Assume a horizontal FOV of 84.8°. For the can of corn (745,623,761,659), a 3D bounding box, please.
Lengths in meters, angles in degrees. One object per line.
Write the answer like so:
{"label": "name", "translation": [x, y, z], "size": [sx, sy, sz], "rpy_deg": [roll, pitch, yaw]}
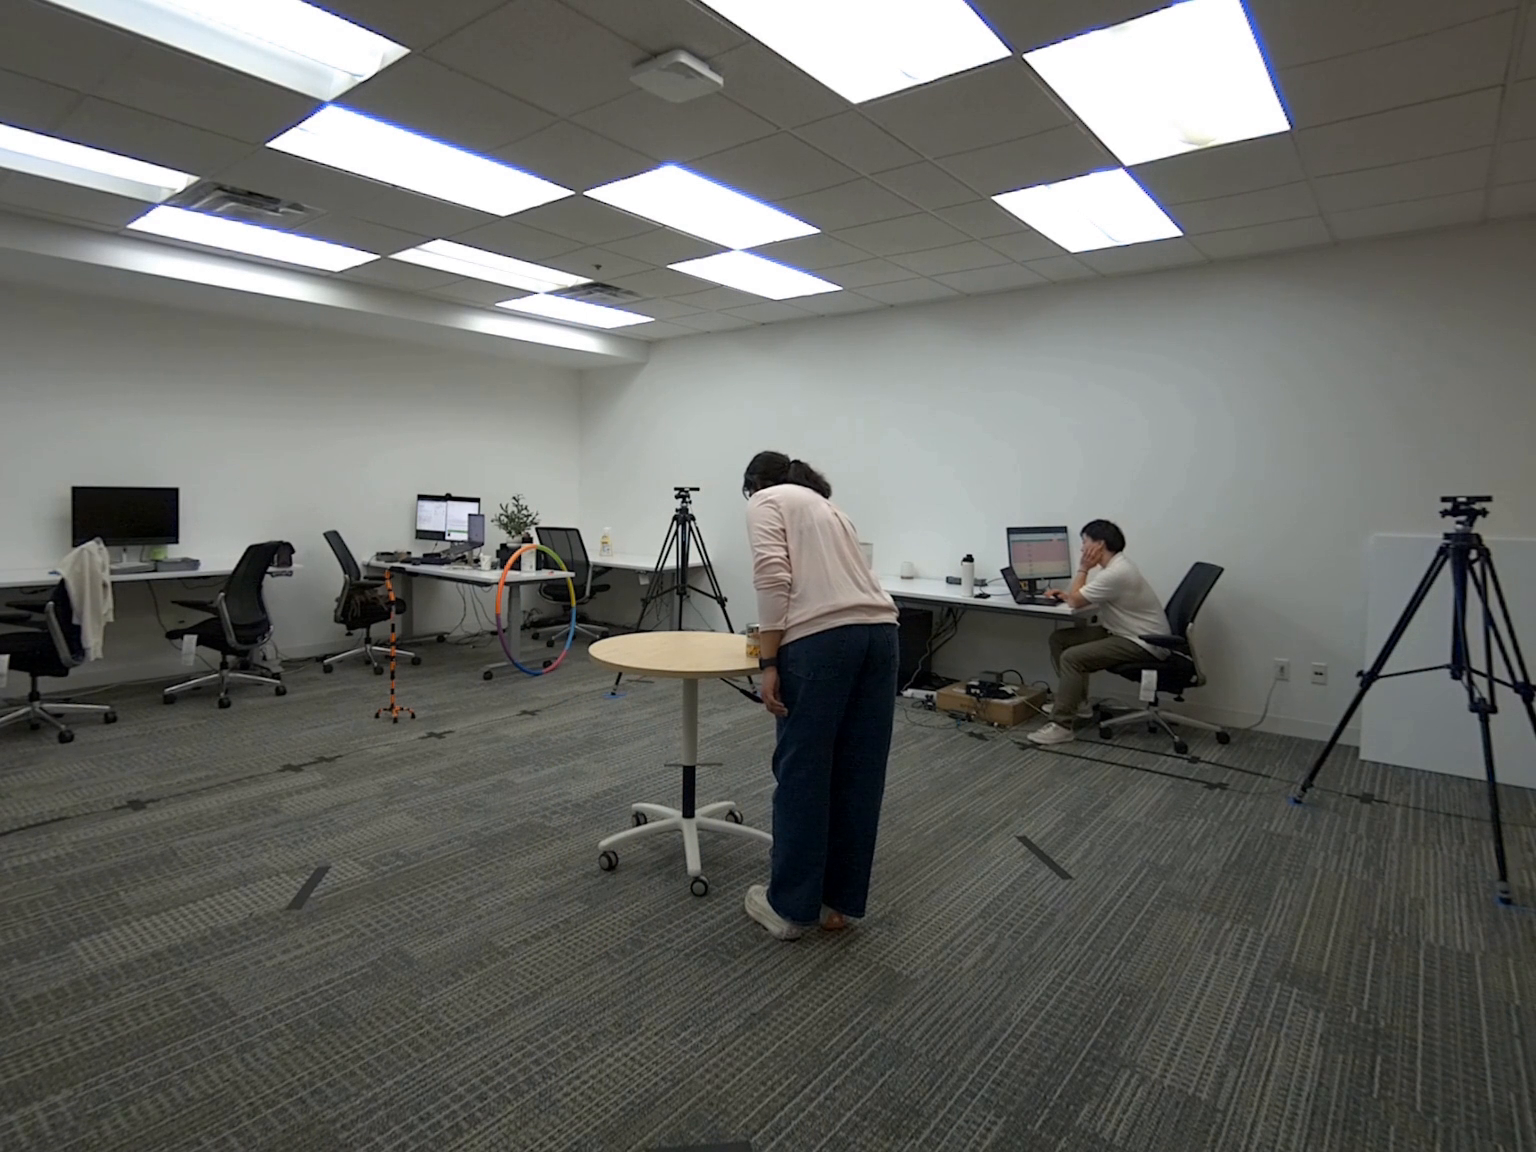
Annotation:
{"label": "can of corn", "translation": [-0.052, 0.233, 3.105], "size": [0.074, 0.111, 0.074], "rpy_deg": [4, 3, -2]}
